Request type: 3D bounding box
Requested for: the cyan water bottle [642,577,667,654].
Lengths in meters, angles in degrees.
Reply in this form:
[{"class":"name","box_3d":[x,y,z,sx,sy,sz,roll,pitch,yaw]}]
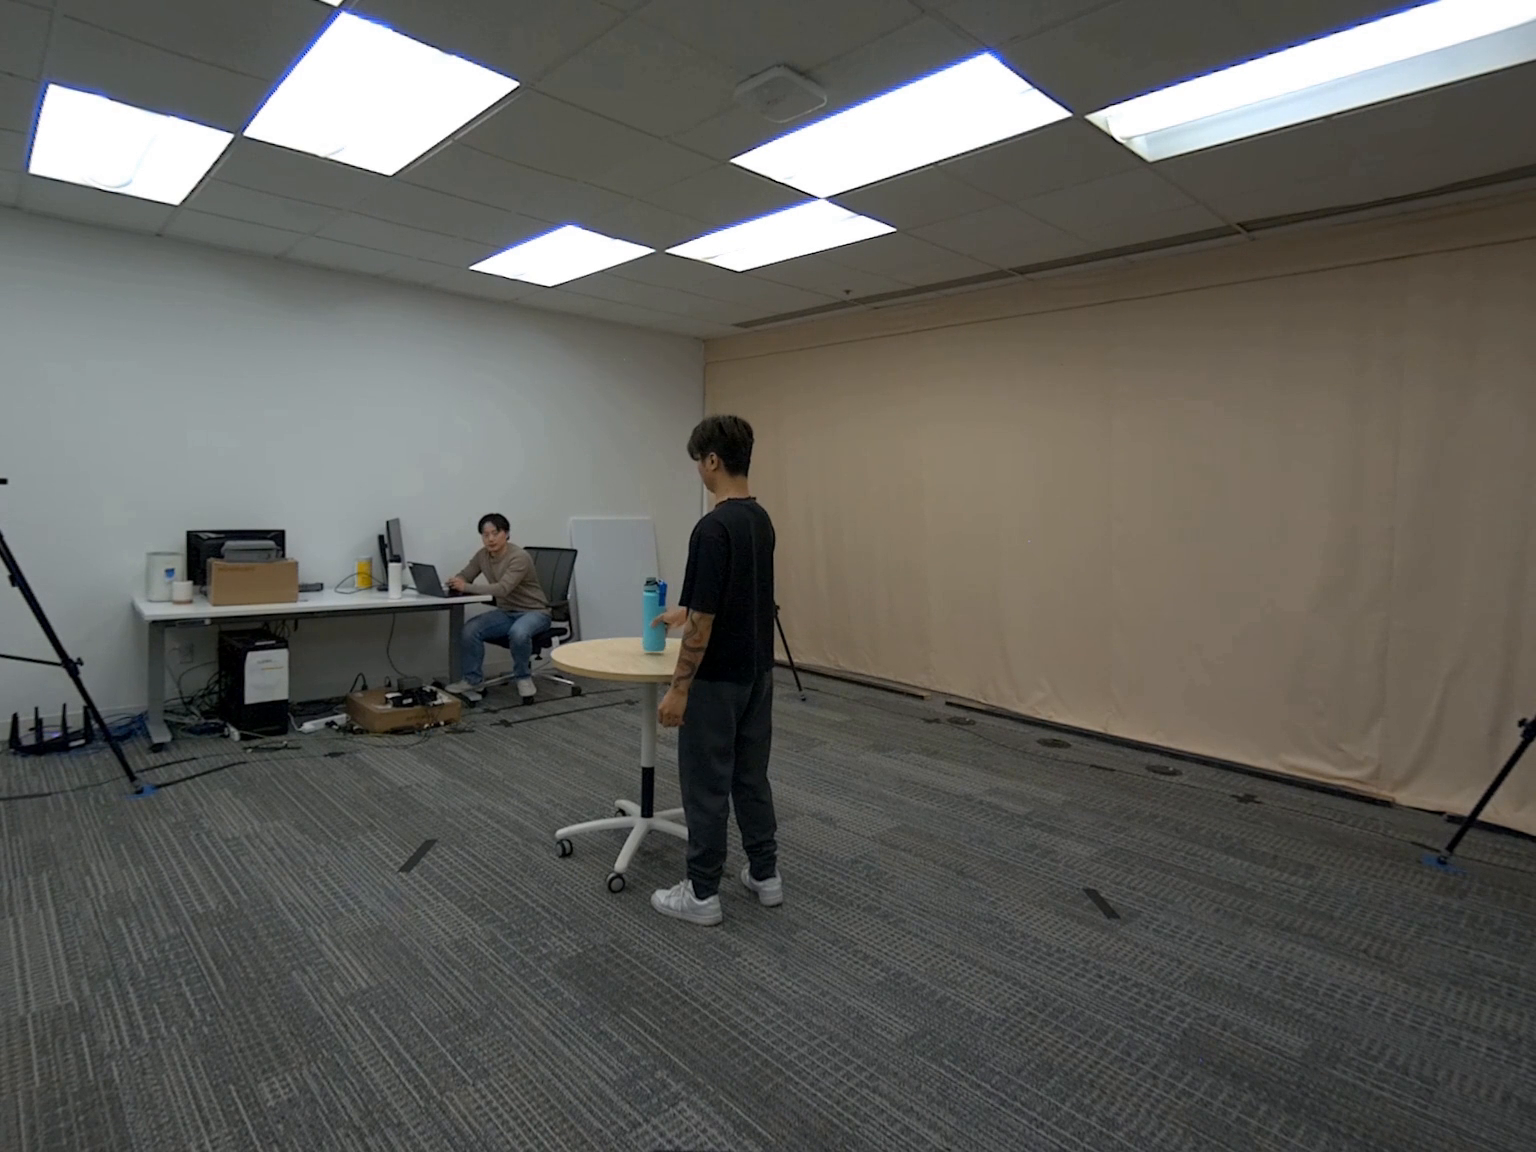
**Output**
[{"class":"cyan water bottle","box_3d":[-0.443,0.146,3.251,0.092,0.282,0.093,2,6,-2]}]
